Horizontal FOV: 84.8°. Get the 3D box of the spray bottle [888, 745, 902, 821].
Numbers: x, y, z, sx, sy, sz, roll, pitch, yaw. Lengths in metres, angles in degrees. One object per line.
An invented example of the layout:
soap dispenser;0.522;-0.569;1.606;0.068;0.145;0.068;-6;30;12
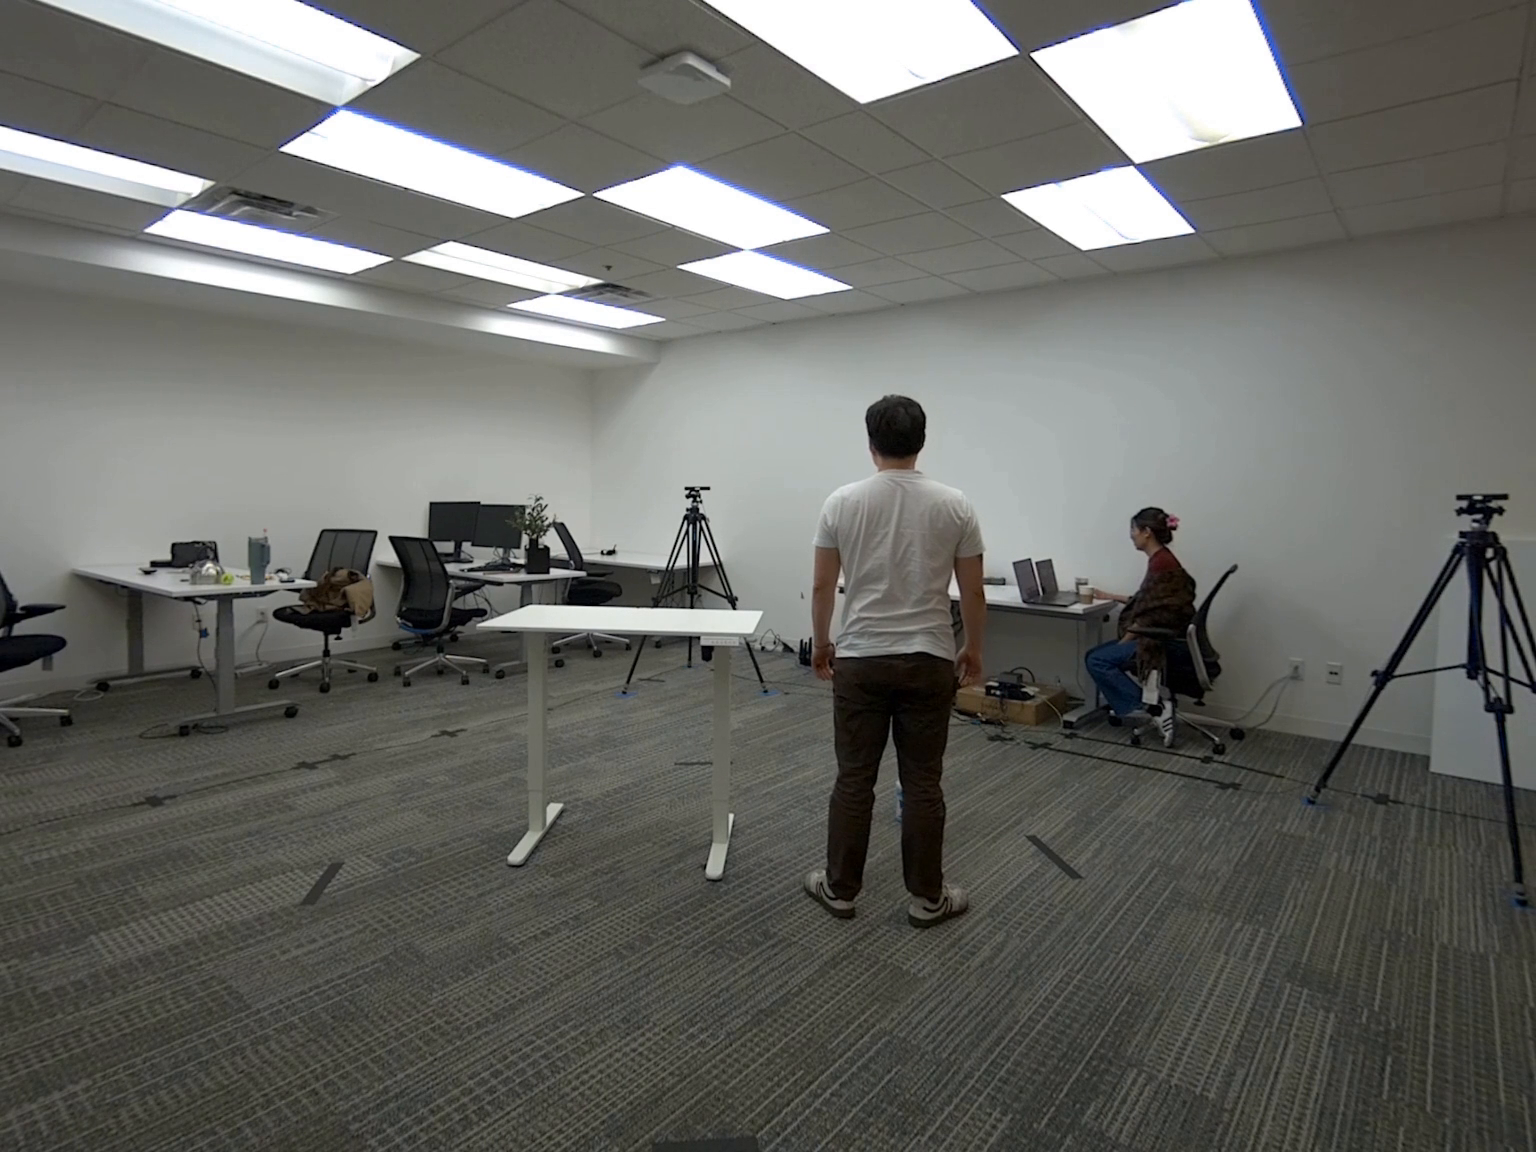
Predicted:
spray bottle;0.579;0.882;3.599;0.089;0.297;0.088;2;2;-11
